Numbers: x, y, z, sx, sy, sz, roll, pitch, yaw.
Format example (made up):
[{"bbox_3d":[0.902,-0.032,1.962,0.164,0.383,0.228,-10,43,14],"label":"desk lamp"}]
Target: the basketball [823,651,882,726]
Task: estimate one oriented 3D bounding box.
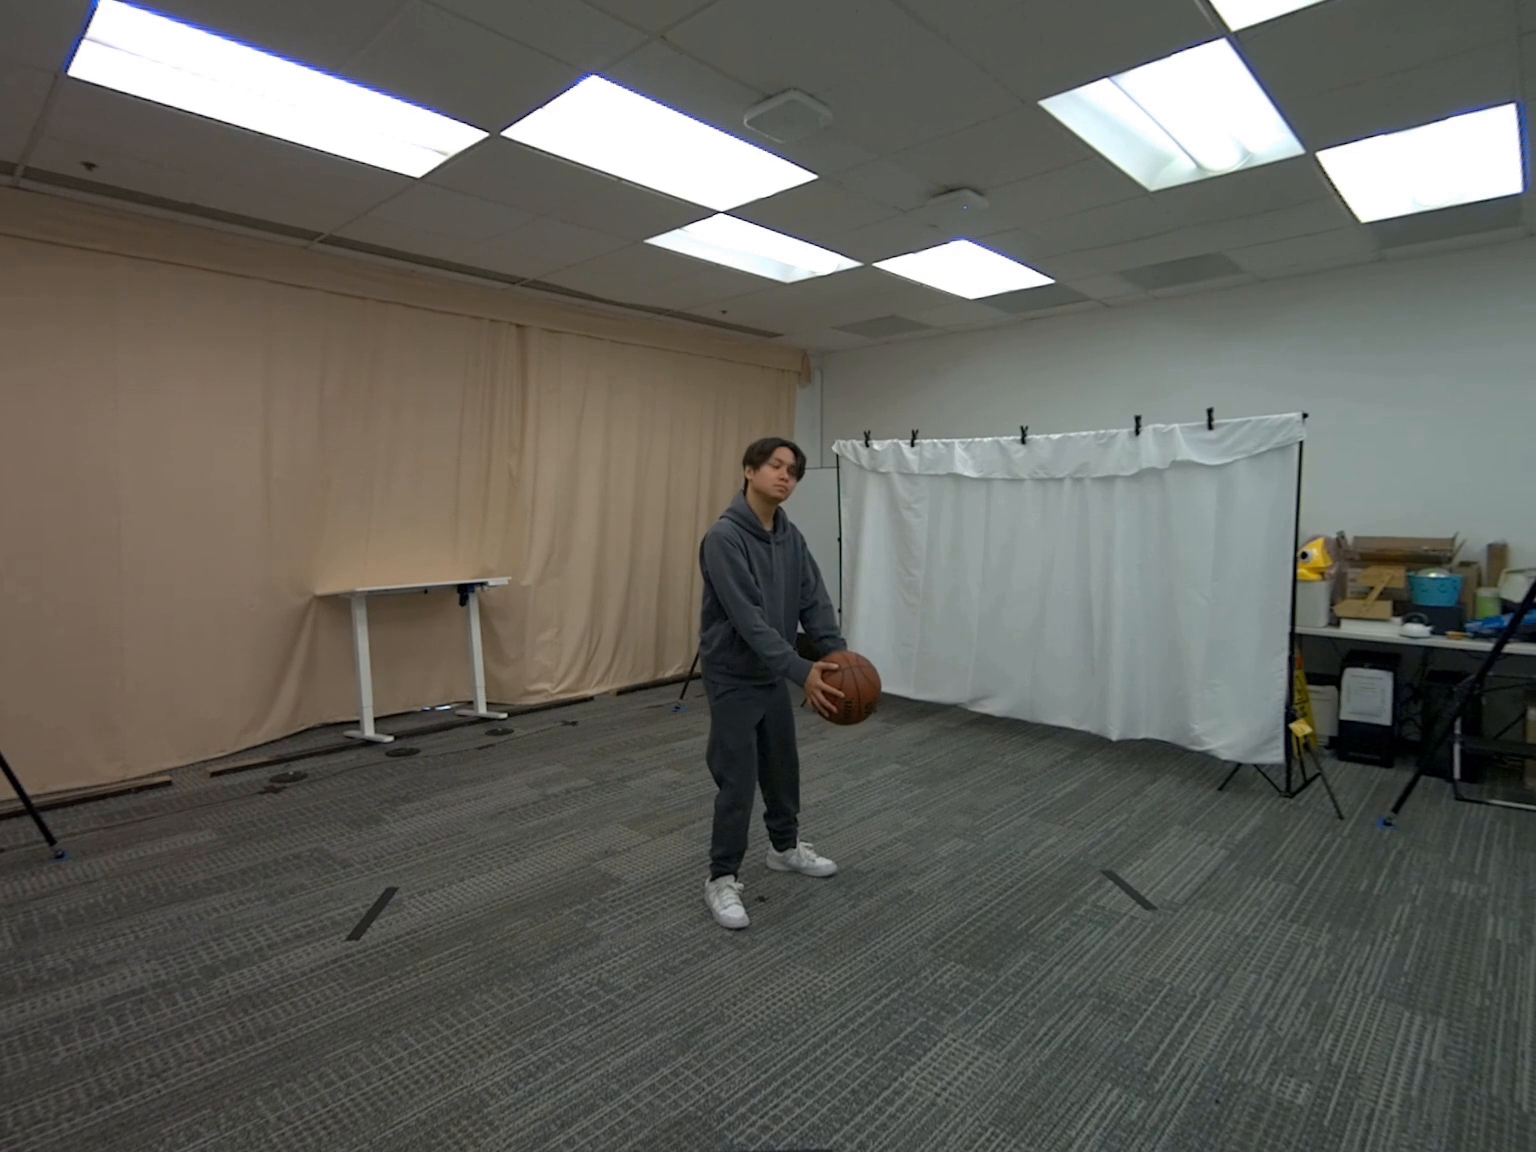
[{"bbox_3d":[0.251,0.366,2.721,0.236,0.235,0.237,0,4,-2],"label":"basketball"}]
